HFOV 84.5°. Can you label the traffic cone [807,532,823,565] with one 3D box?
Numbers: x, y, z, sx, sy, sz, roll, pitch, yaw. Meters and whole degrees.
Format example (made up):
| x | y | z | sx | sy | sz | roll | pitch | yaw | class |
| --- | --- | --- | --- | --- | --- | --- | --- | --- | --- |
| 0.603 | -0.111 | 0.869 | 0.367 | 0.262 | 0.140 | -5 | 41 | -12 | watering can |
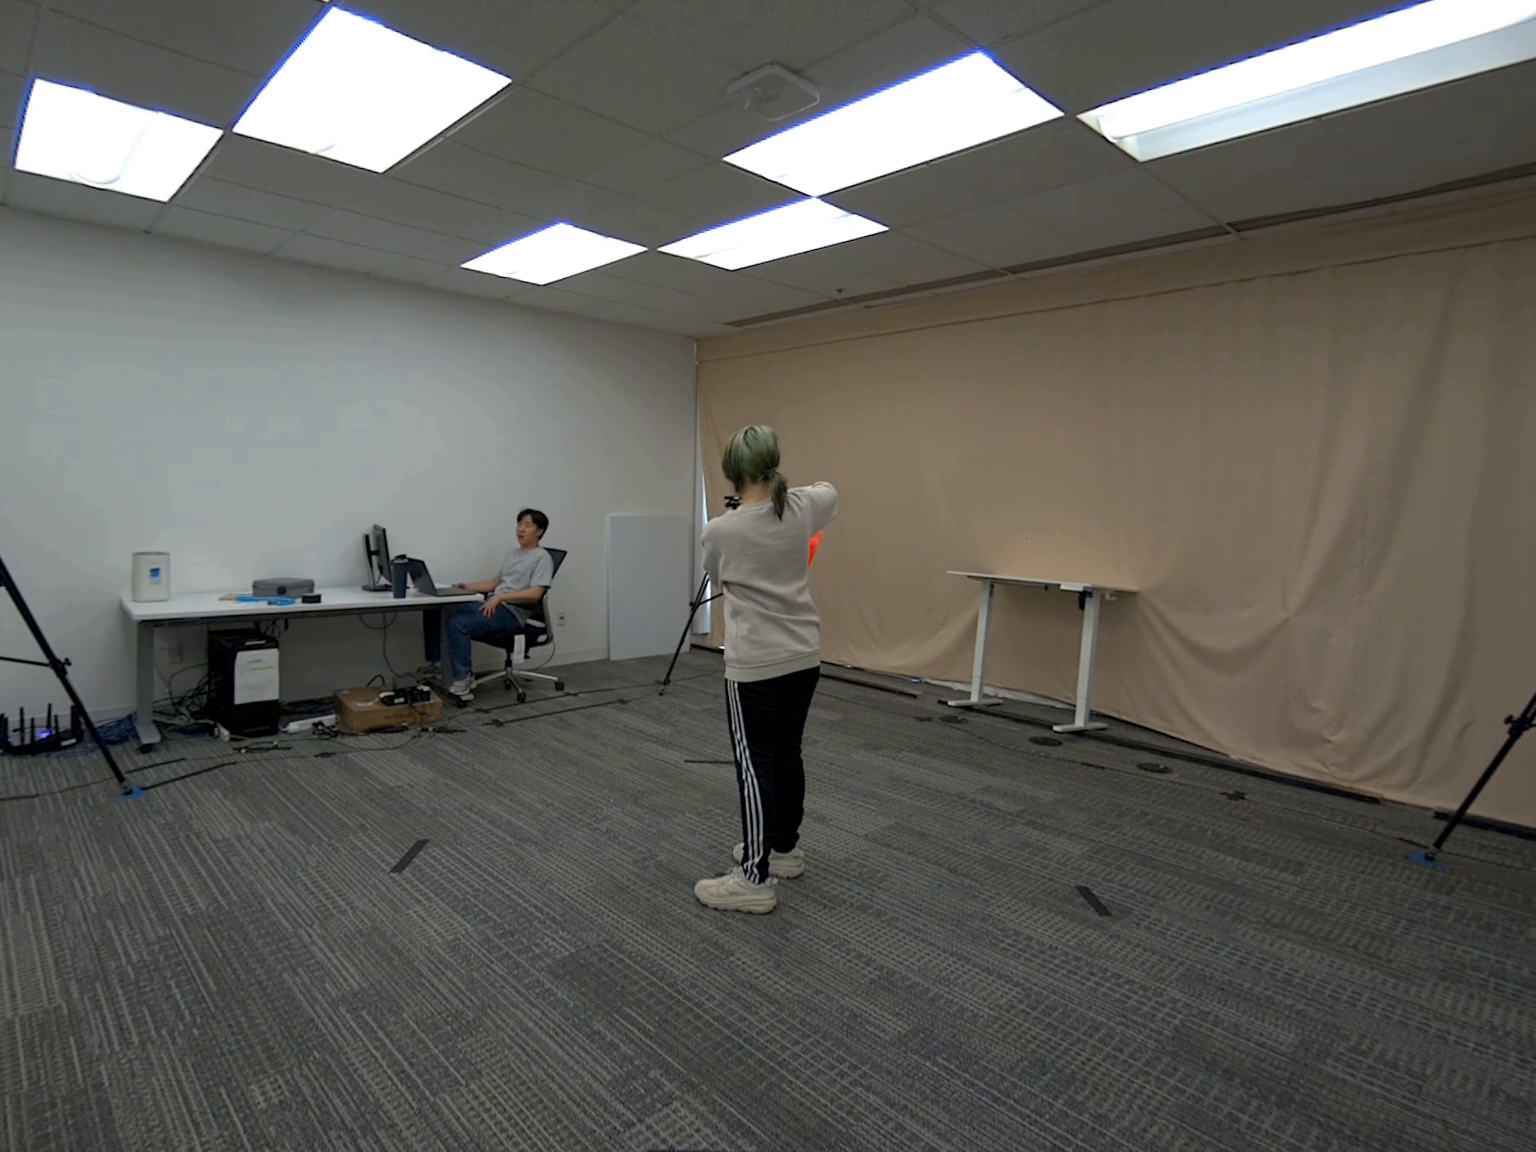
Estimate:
| x | y | z | sx | sy | sz | roll | pitch | yaw | class |
| --- | --- | --- | --- | --- | --- | --- | --- | --- | --- |
| -0.009 | -0.146 | 3.403 | 0.373 | 0.205 | 0.209 | 22 | 4 | -35 | traffic cone |
